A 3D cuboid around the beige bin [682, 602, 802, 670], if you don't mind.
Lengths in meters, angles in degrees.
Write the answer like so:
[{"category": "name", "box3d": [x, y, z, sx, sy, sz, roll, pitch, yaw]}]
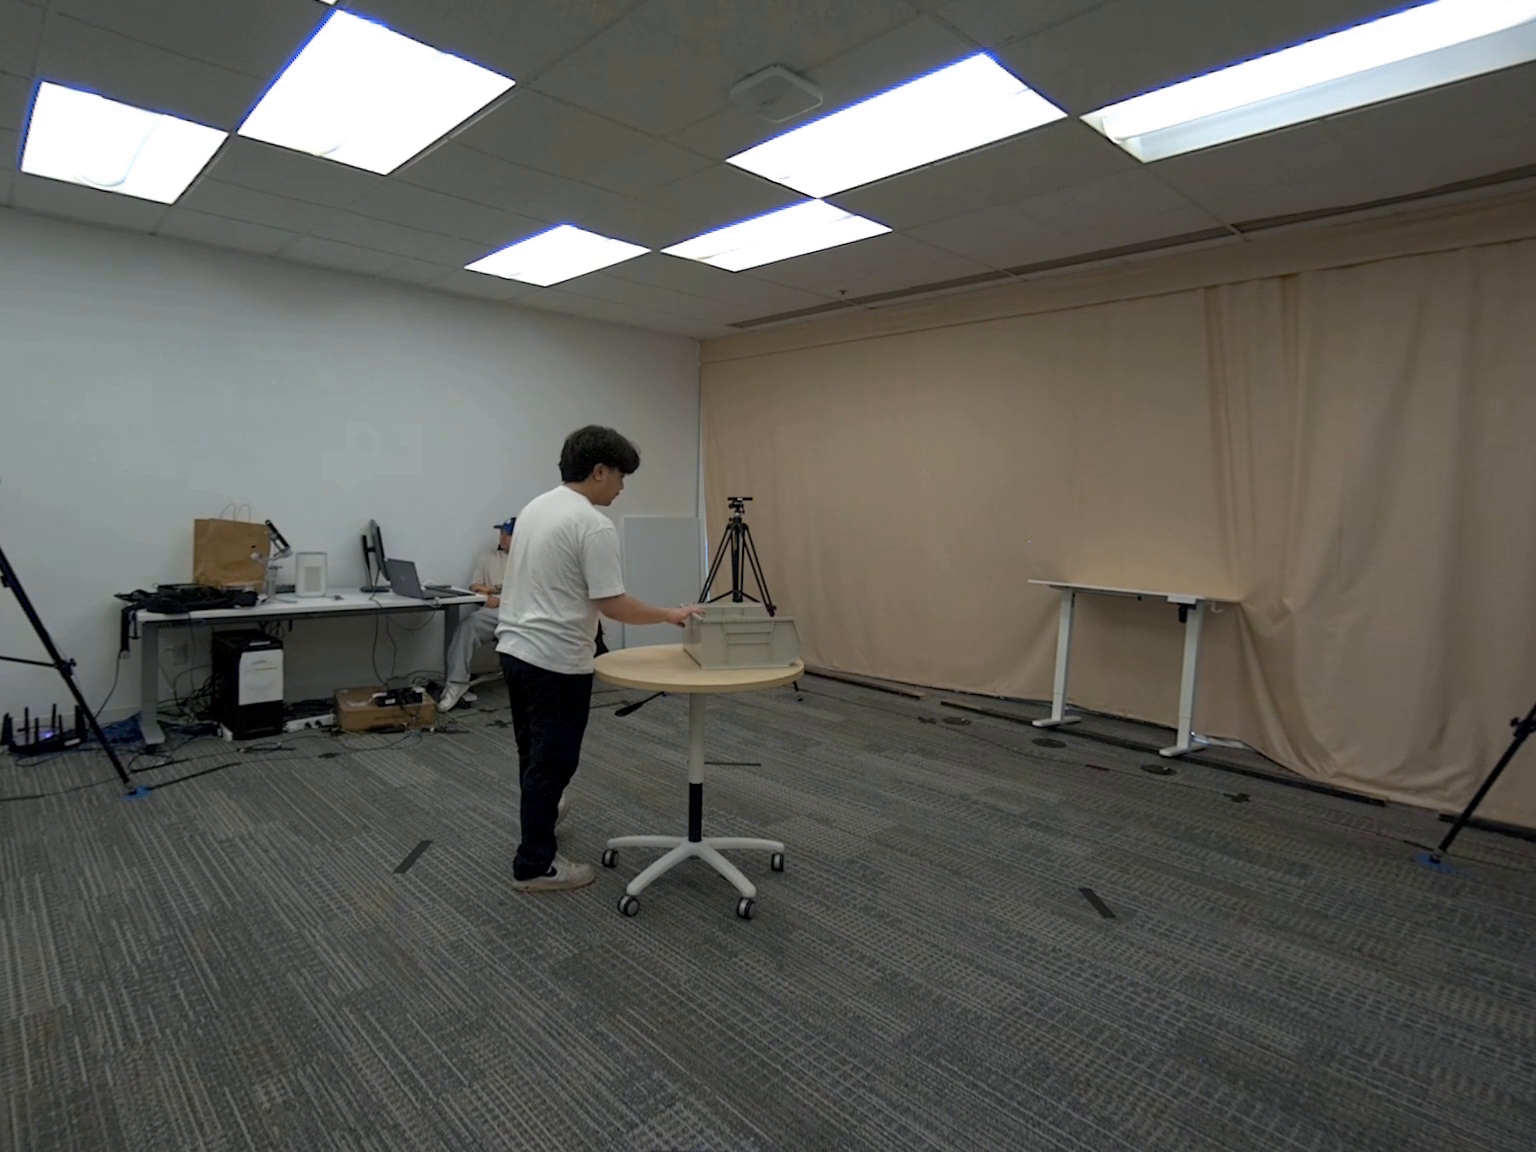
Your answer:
[{"category": "beige bin", "box3d": [-0.115, 0.218, 3.136, 0.373, 0.188, 0.429, -2, 6, -15]}]
